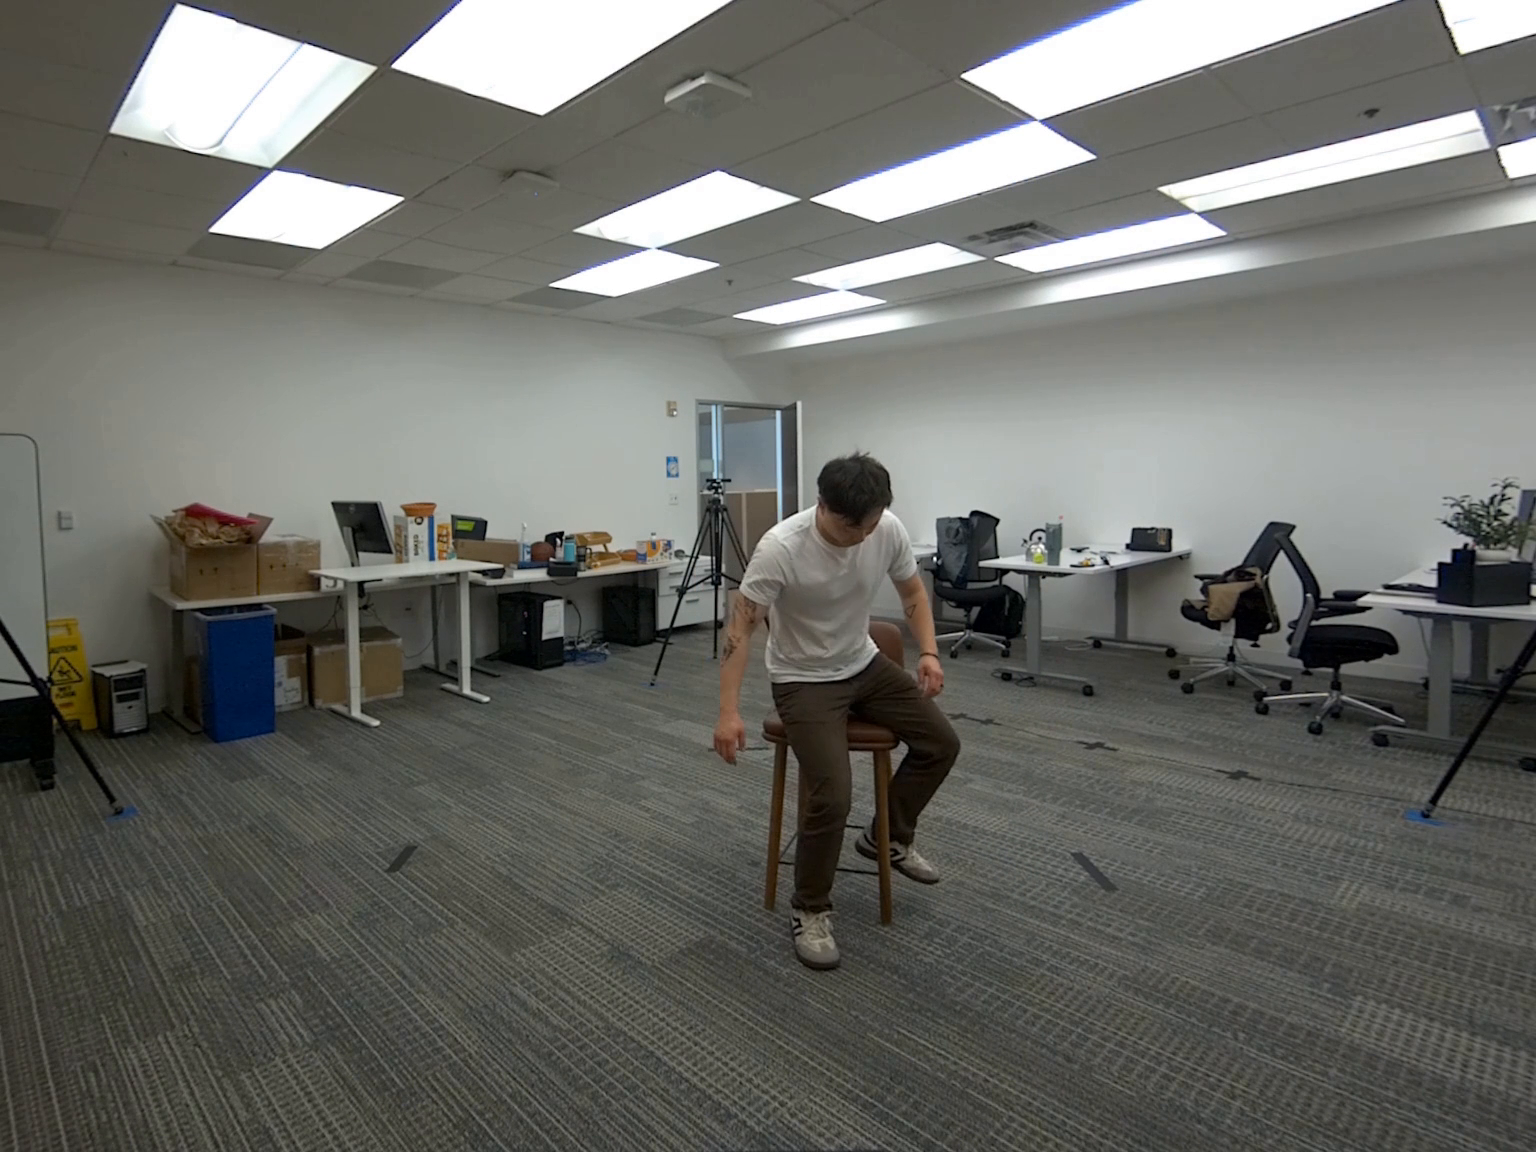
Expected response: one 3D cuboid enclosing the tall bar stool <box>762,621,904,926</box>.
[{"bbox_3d":[0.242,0.630,2.907,0.464,0.888,0.461,1,3,17],"label":"tall bar stool"}]
